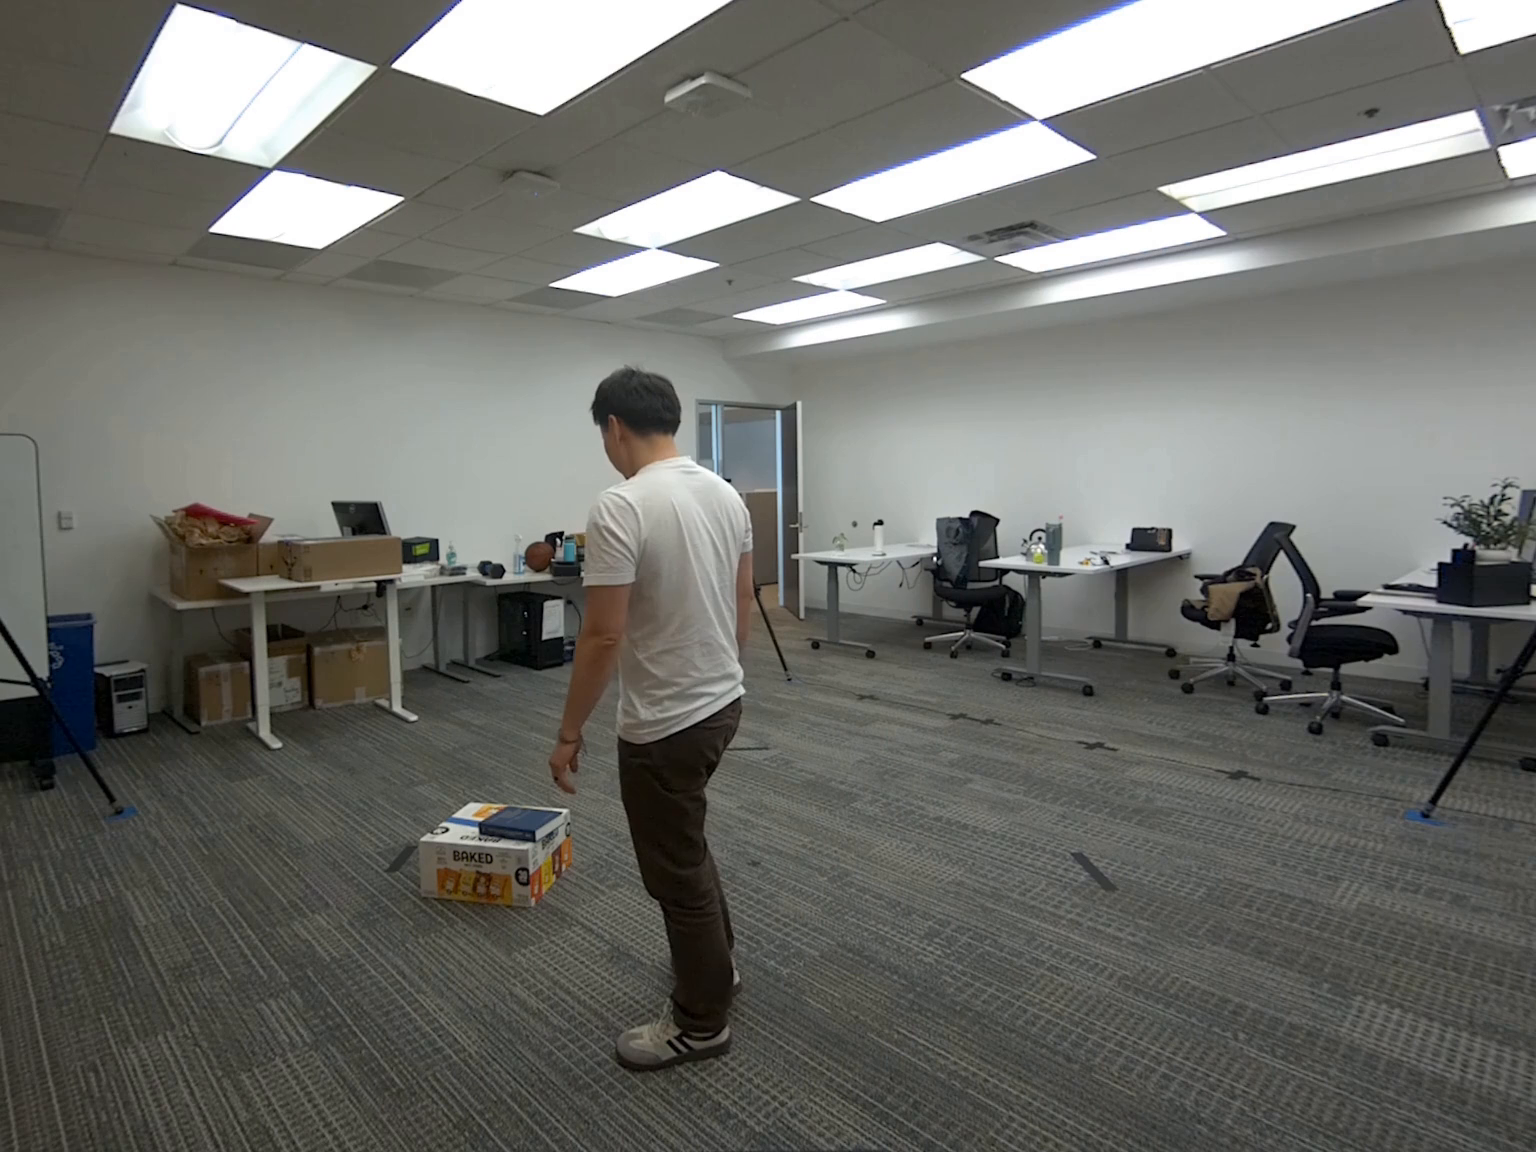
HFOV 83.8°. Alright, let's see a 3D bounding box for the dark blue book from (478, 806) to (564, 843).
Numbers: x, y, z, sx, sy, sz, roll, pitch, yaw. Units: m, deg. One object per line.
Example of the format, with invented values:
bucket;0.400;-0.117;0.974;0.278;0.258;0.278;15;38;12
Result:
dark blue book;-0.860;0.860;2.966;0.250;0.045;0.161;-1;6;24
